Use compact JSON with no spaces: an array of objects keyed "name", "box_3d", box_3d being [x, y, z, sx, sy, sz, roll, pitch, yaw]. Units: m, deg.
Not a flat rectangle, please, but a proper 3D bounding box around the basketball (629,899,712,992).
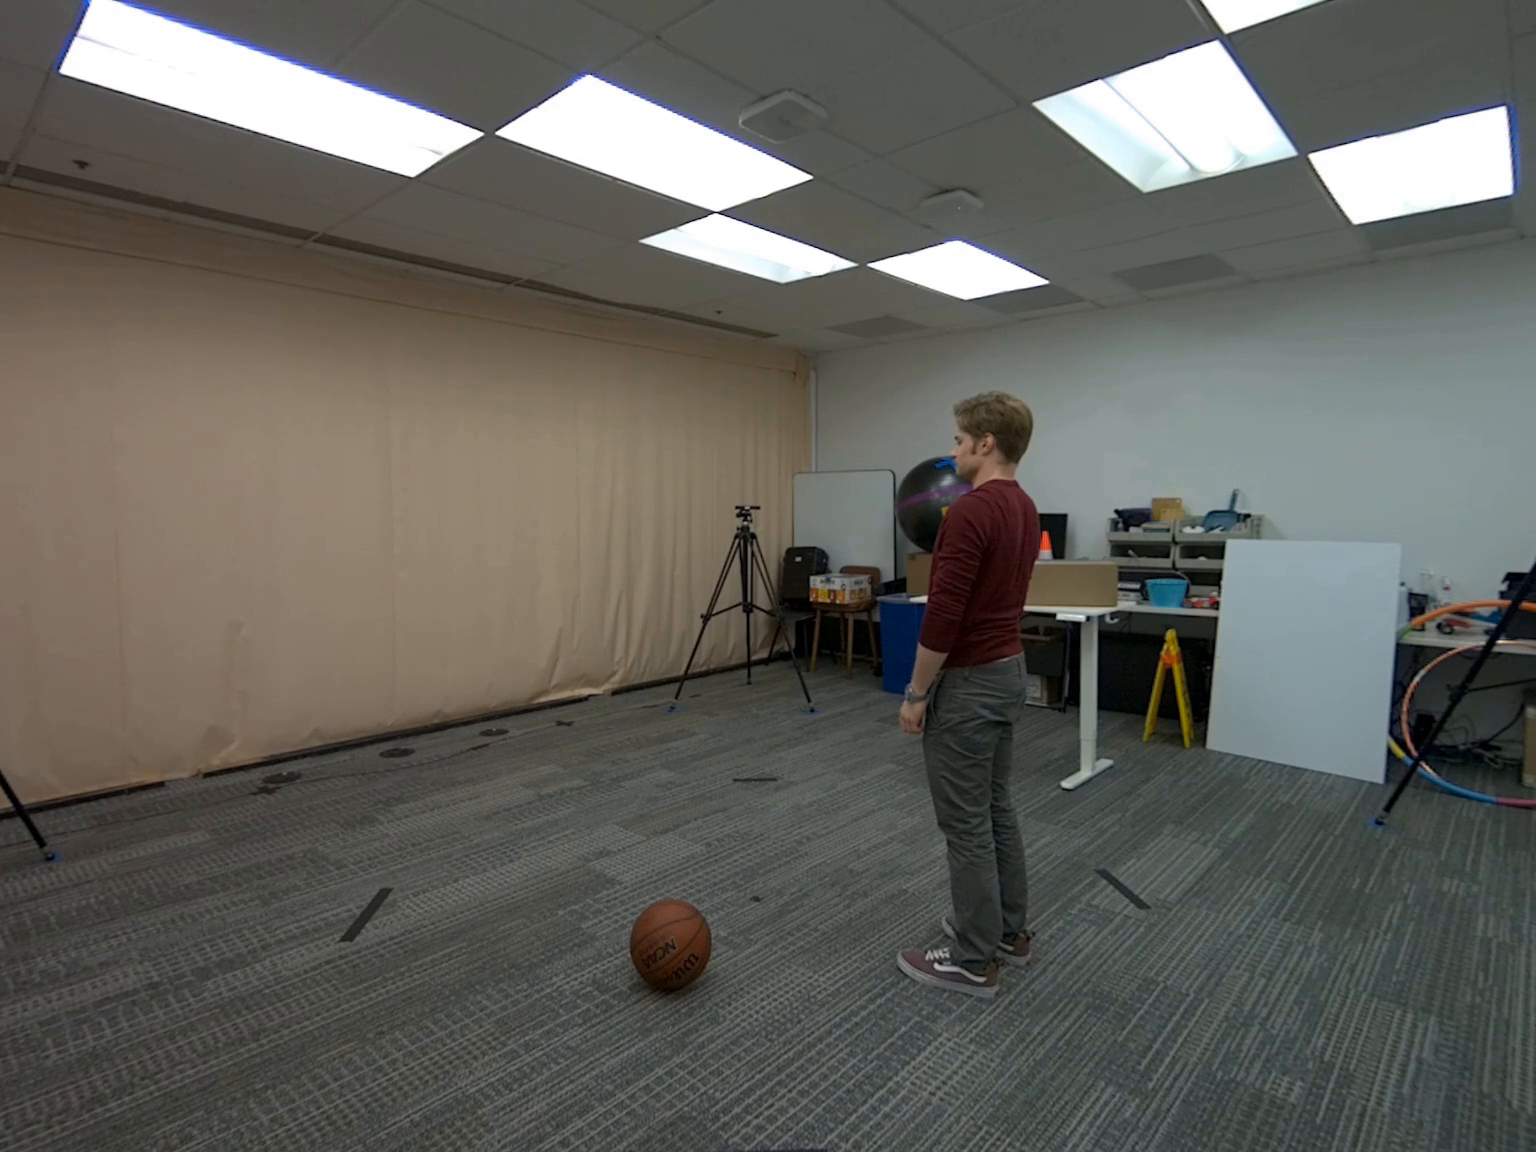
[{"name":"basketball","box_3d":[-0.283,1.072,2.447,0.236,0.235,0.237,0,4,-2]}]
